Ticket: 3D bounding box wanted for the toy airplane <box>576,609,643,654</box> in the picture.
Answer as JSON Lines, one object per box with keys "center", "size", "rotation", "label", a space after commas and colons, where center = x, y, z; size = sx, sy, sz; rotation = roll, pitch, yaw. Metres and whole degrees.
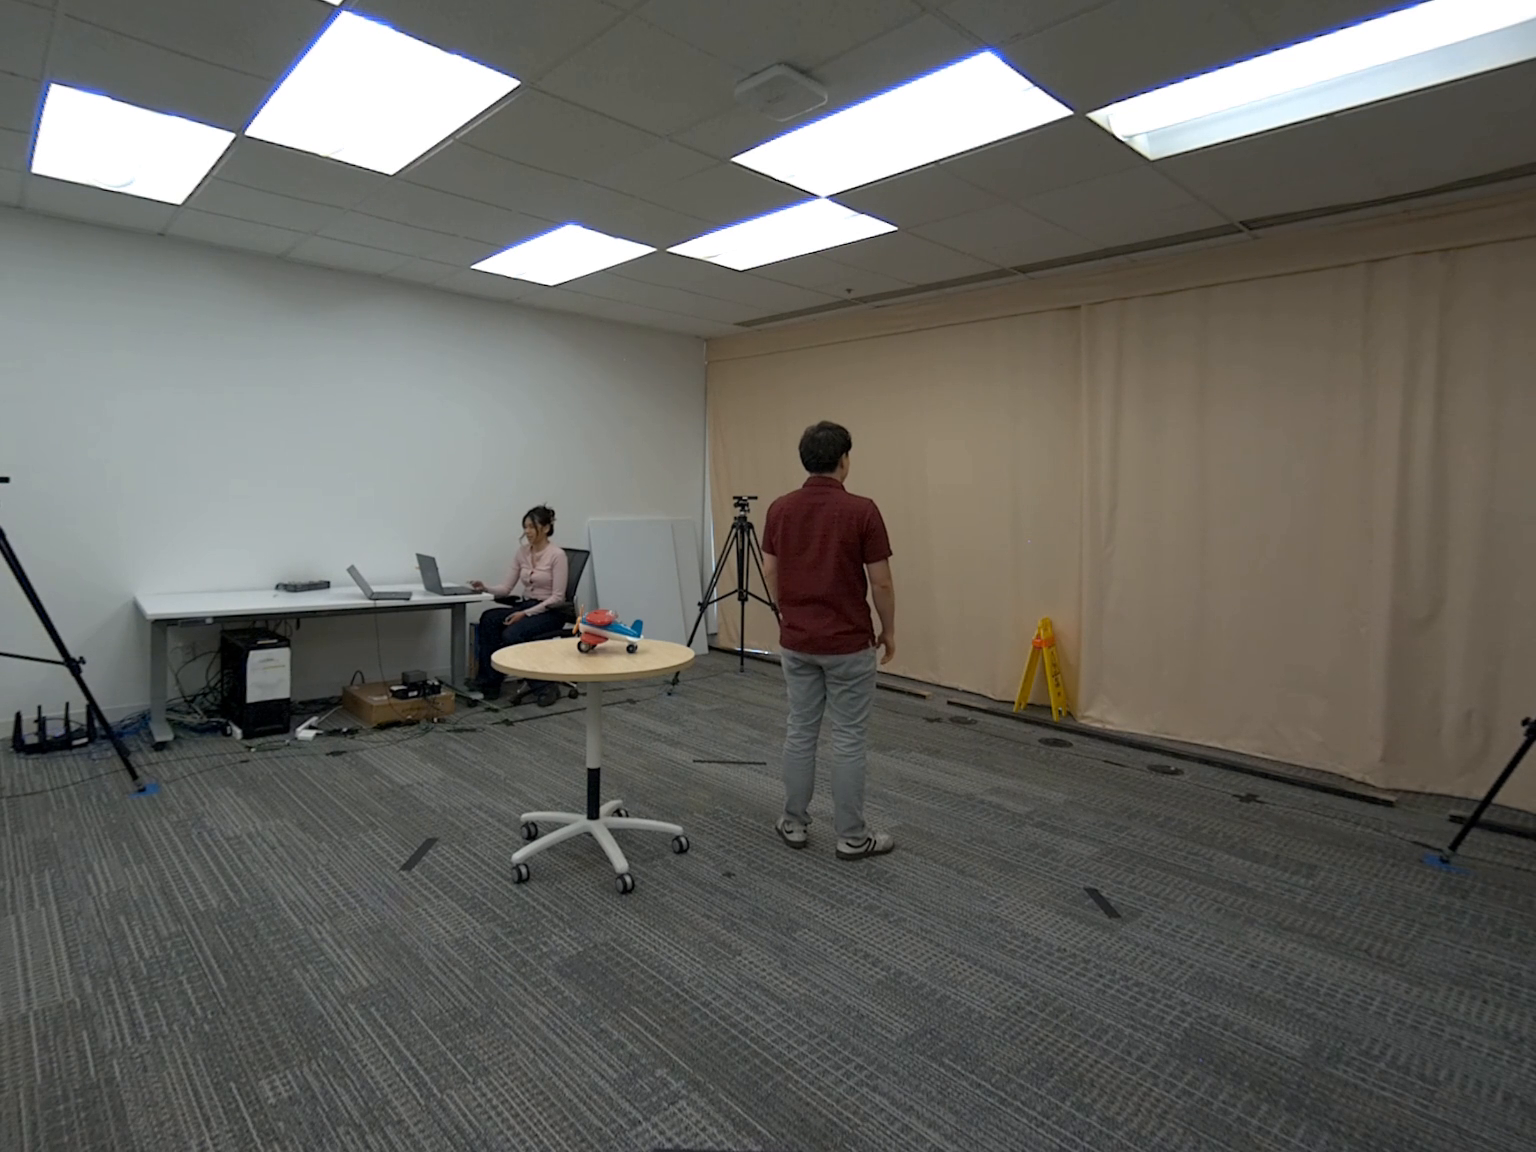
{"center": [-0.628, 0.216, 3.275], "size": [0.255, 0.156, 0.256], "rotation": [-2, 5, -25], "label": "toy airplane"}
